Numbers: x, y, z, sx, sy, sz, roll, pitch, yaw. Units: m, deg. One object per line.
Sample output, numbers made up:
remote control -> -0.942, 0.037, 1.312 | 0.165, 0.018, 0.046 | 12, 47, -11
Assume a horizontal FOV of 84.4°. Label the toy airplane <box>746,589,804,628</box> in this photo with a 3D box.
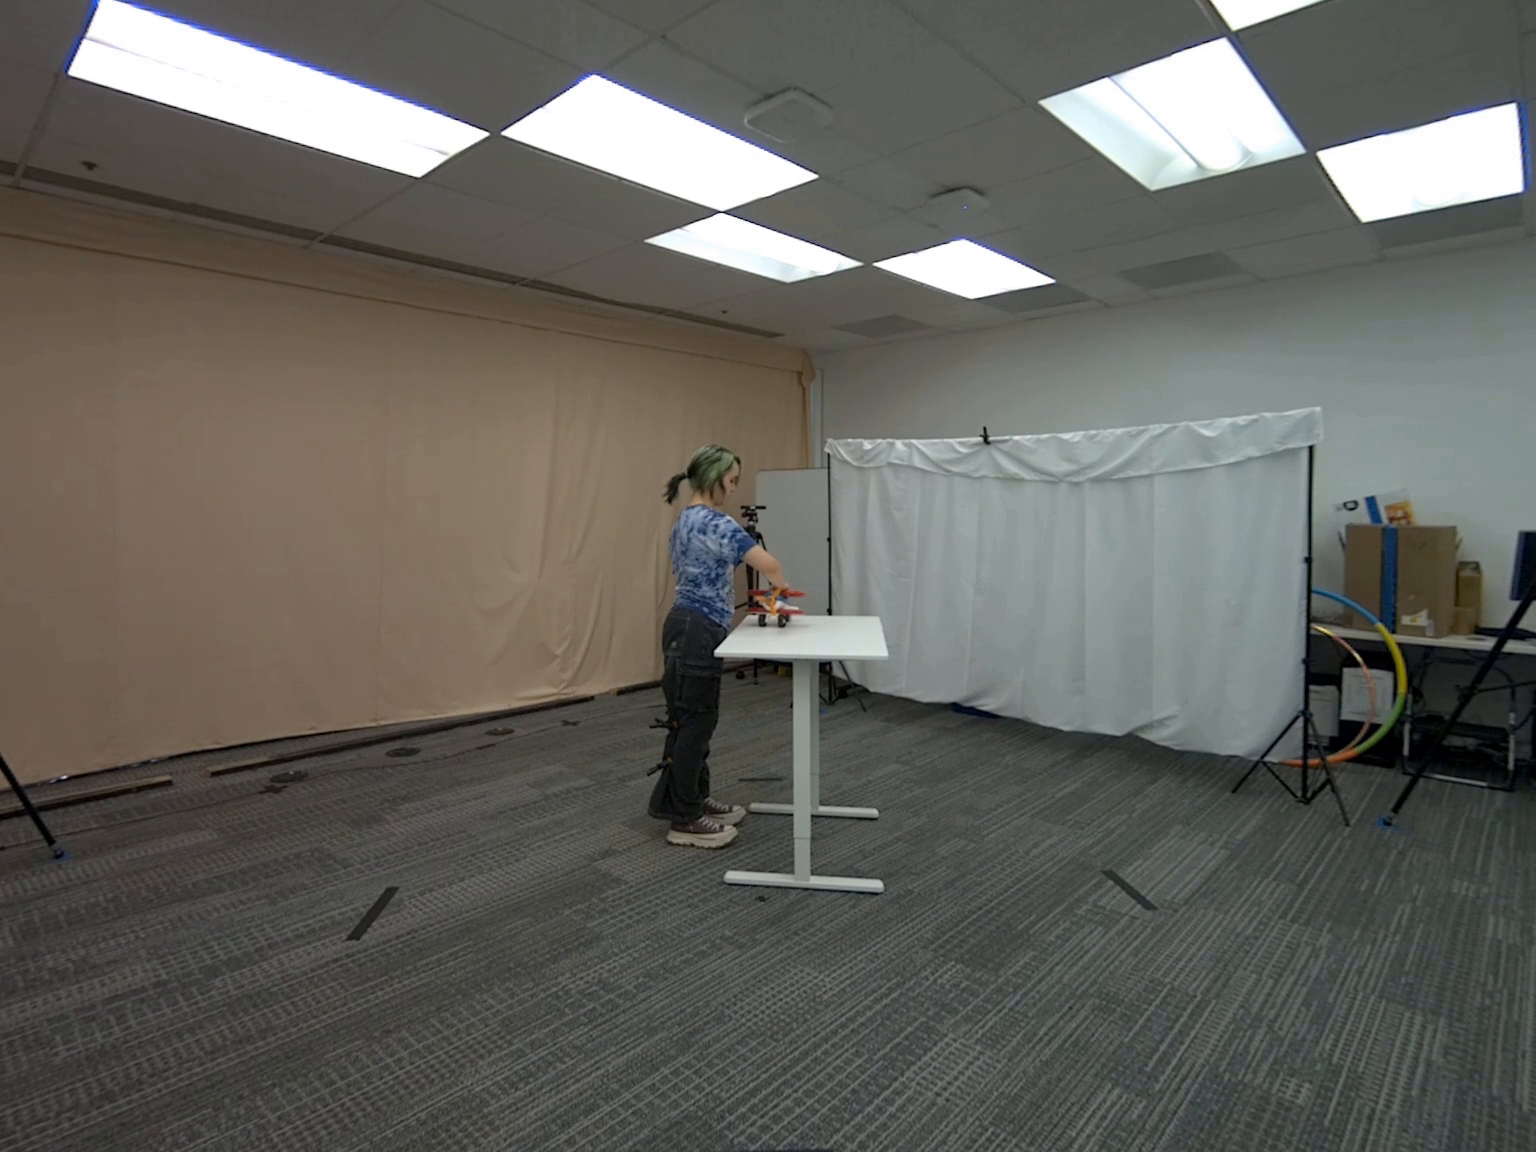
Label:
toy airplane -> 0.024, 0.131, 3.627 | 0.248, 0.156, 0.263 | -2, 5, -12
